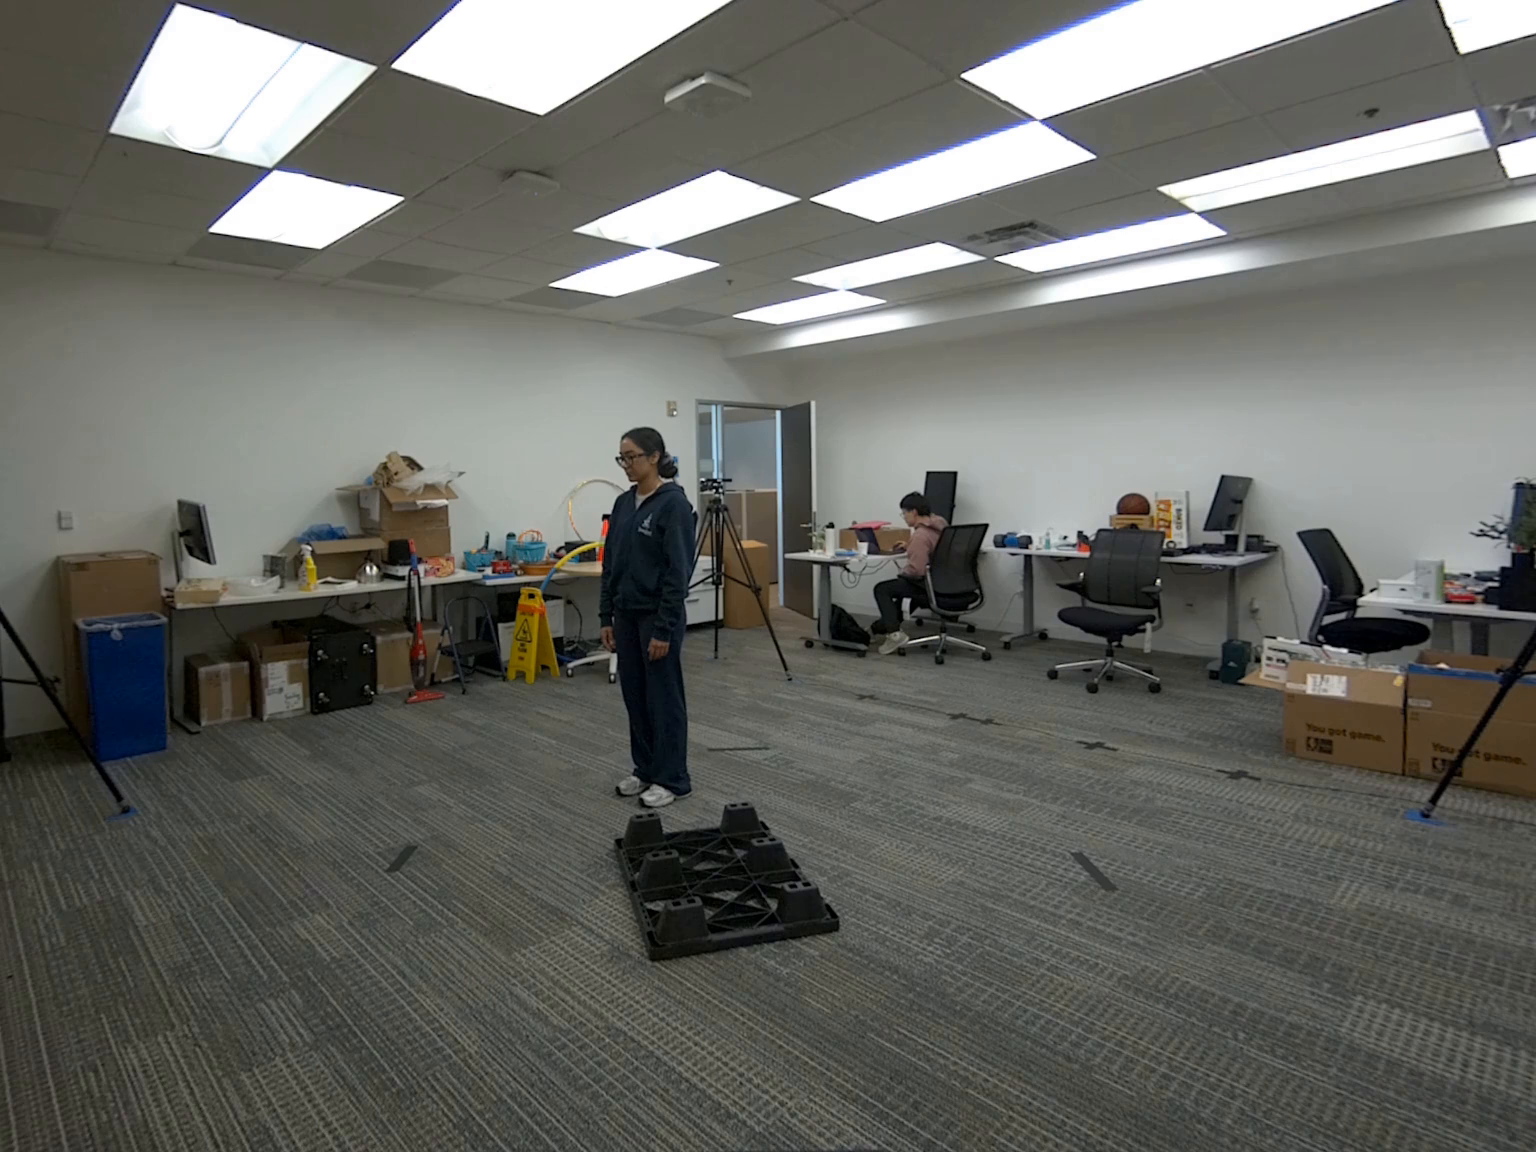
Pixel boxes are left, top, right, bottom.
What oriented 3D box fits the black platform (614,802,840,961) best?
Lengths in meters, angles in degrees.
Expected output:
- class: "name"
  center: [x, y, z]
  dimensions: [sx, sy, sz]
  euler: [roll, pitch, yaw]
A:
- class: "black platform"
  center: [-0.176, 0.996, 2.933]
  dimensions: [0.596, 0.142, 0.822]
  euler: [-4, 7, -17]
